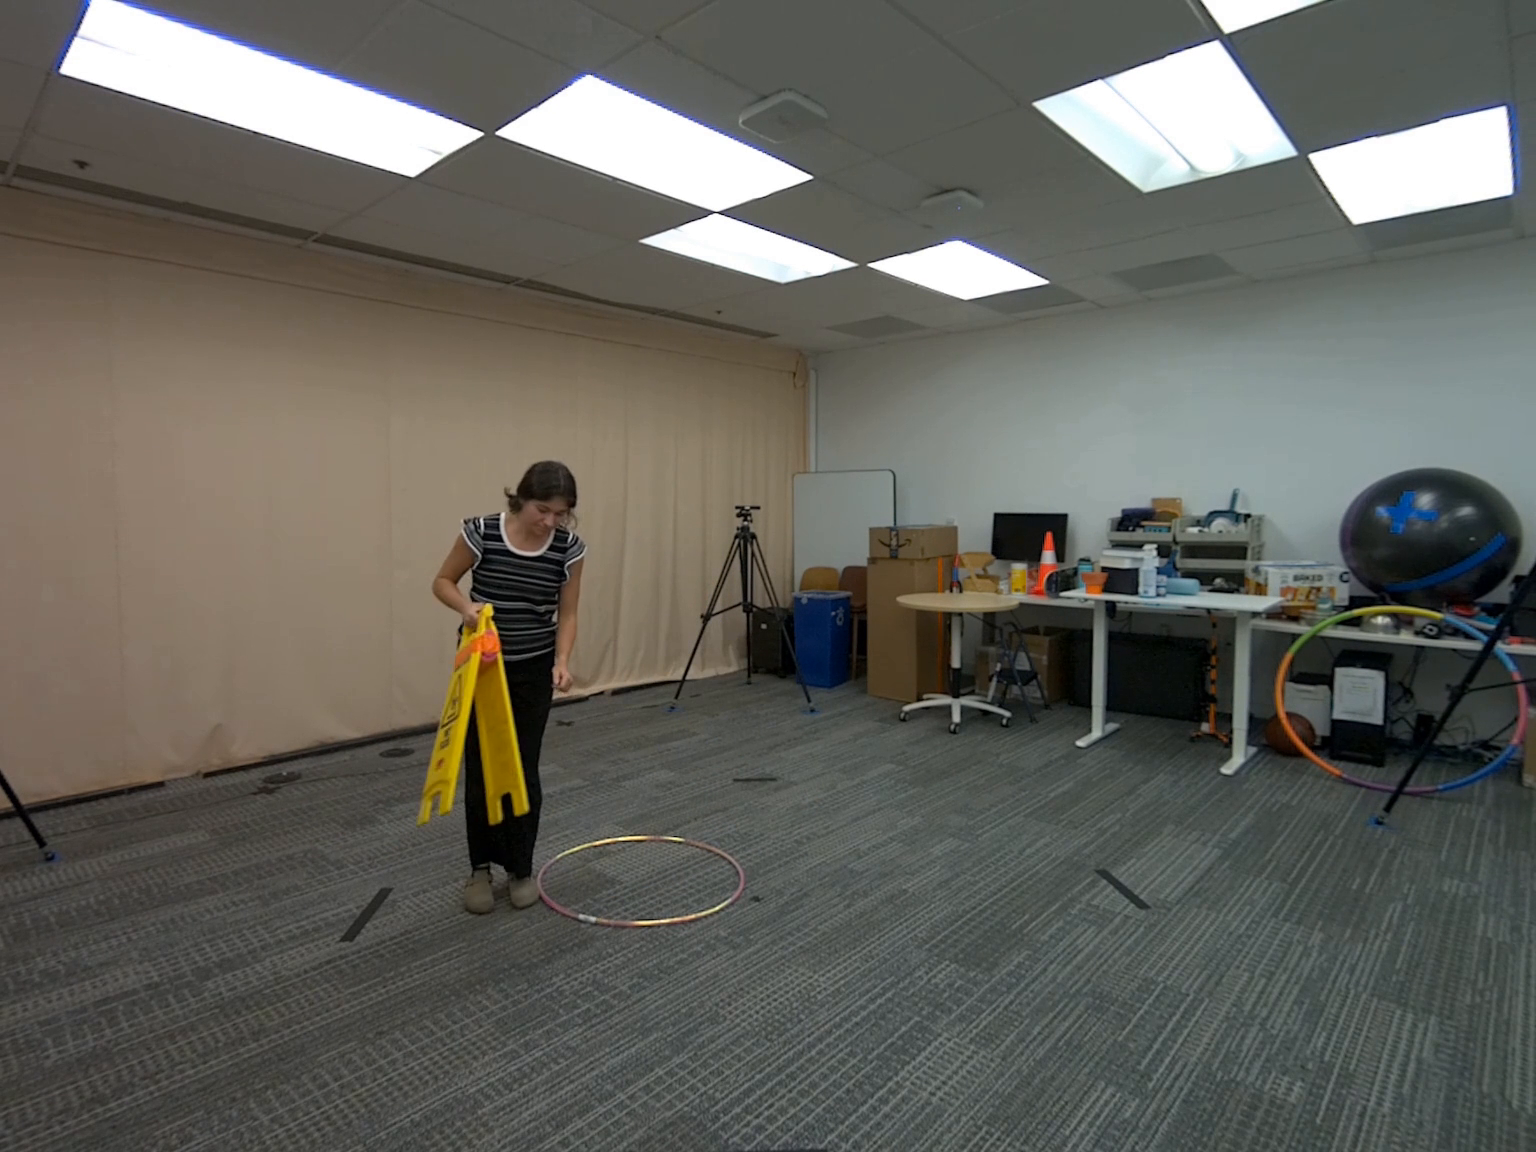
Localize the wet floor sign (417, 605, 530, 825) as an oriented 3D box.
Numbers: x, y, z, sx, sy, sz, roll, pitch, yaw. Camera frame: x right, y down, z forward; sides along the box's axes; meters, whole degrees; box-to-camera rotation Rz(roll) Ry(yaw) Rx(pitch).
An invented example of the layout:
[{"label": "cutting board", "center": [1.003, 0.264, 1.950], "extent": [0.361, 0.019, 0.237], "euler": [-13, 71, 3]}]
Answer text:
[{"label": "wet floor sign", "center": [-0.889, 0.425, 2.627], "extent": [0.280, 0.656, 0.287], "euler": [11, -28, -35]}]
